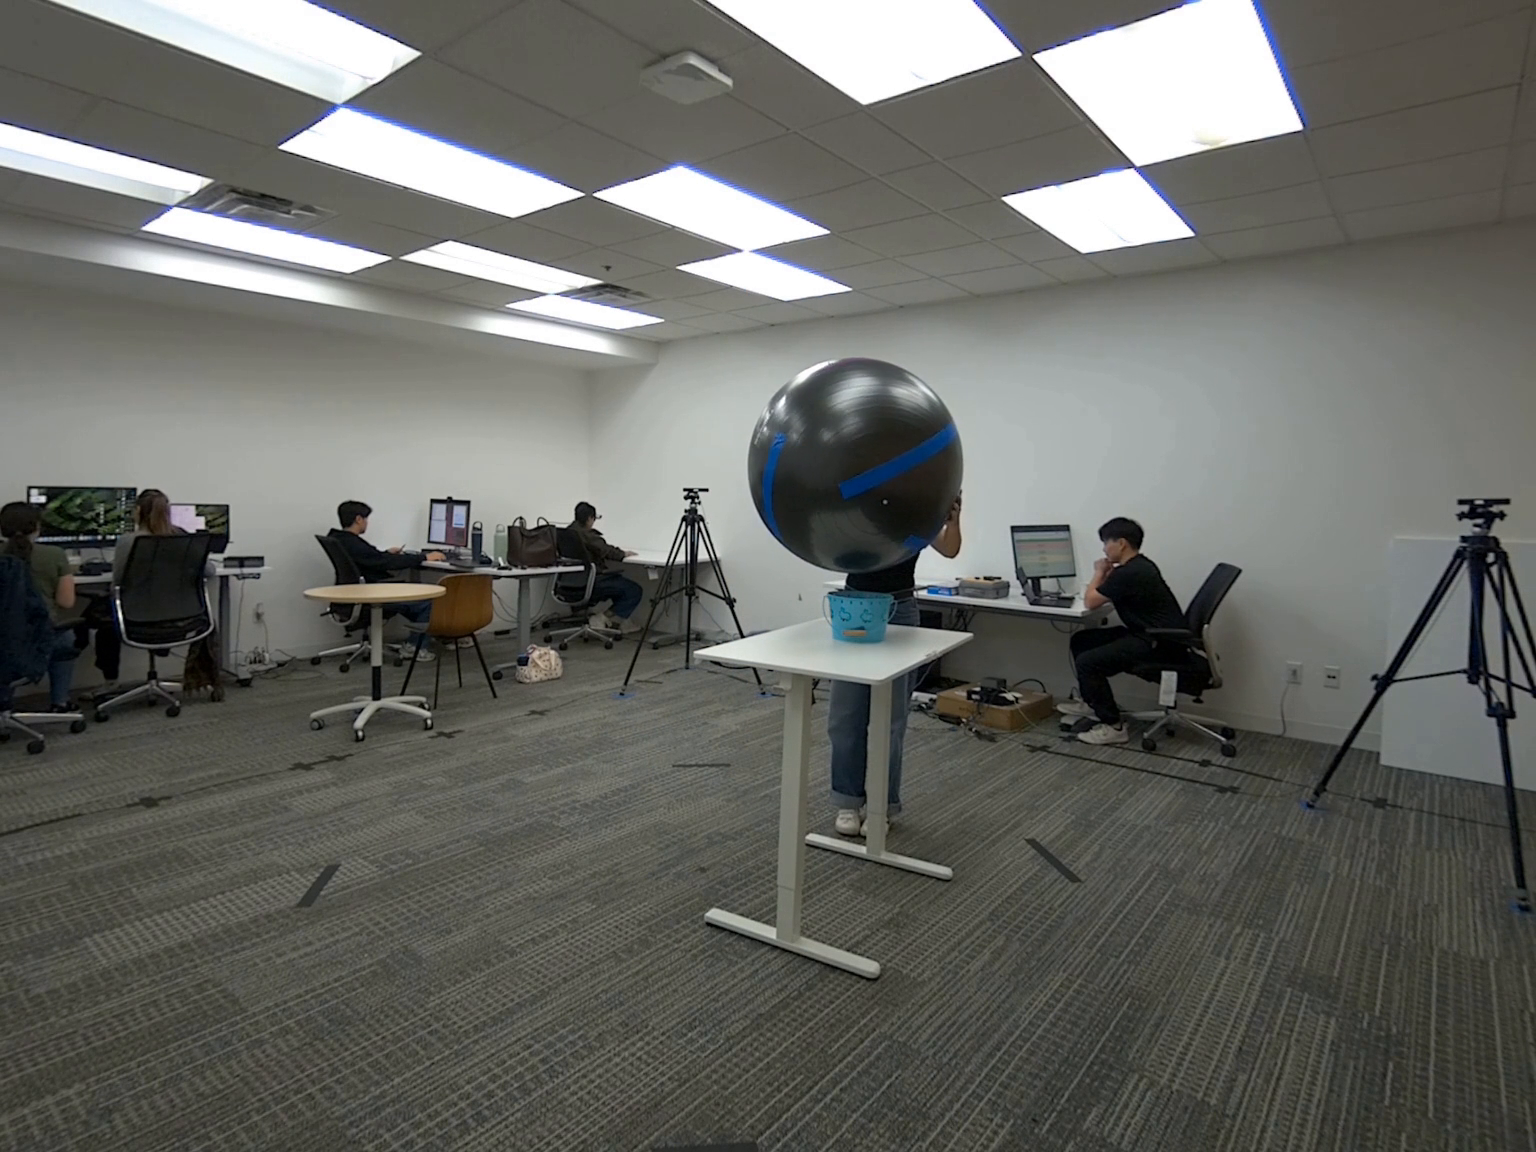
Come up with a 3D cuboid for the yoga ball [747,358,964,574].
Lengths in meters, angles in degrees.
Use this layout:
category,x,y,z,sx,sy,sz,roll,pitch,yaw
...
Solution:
category,x,y,z,sx,sy,sz,roll,pitch,yaw
yoga ball,0.295,-0.389,3.038,0.757,0.756,0.762,1,4,-2
